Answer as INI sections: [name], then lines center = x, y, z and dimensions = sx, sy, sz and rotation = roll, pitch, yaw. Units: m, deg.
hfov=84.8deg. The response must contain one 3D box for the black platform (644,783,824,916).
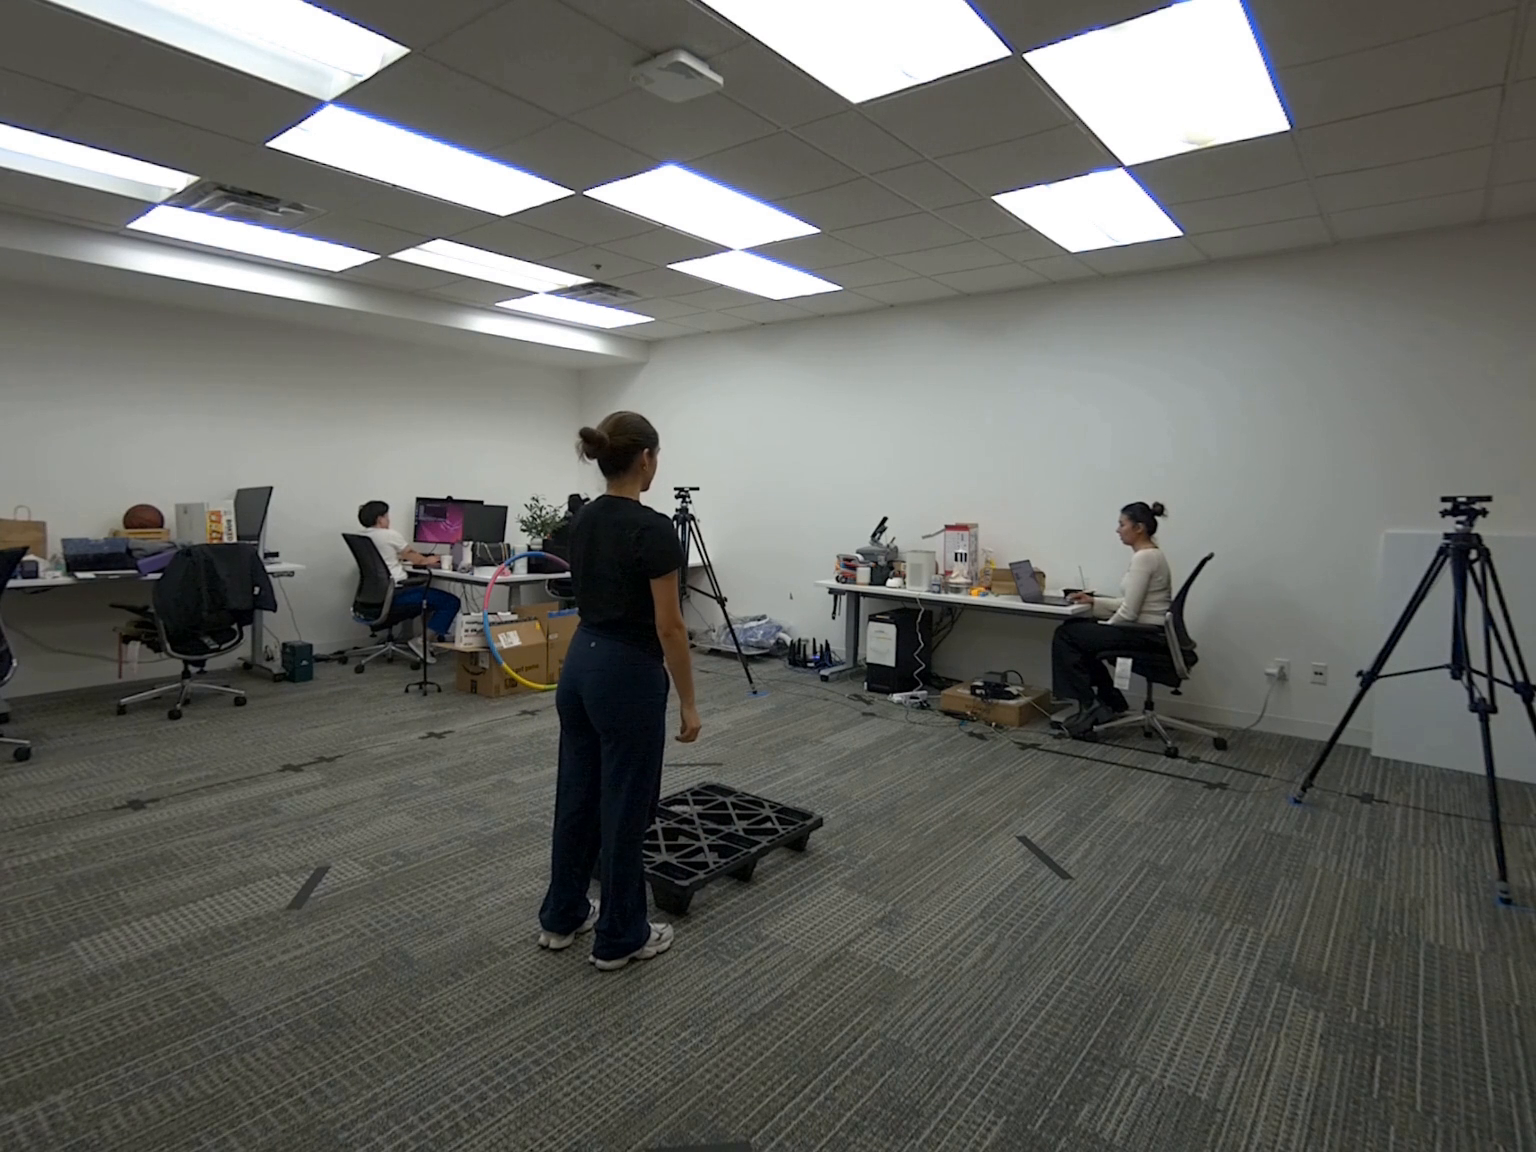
[black platform]
center = -0.236, 0.995, 3.188
dimensions = 0.625, 0.143, 0.782
rotation = 5, 8, 39
